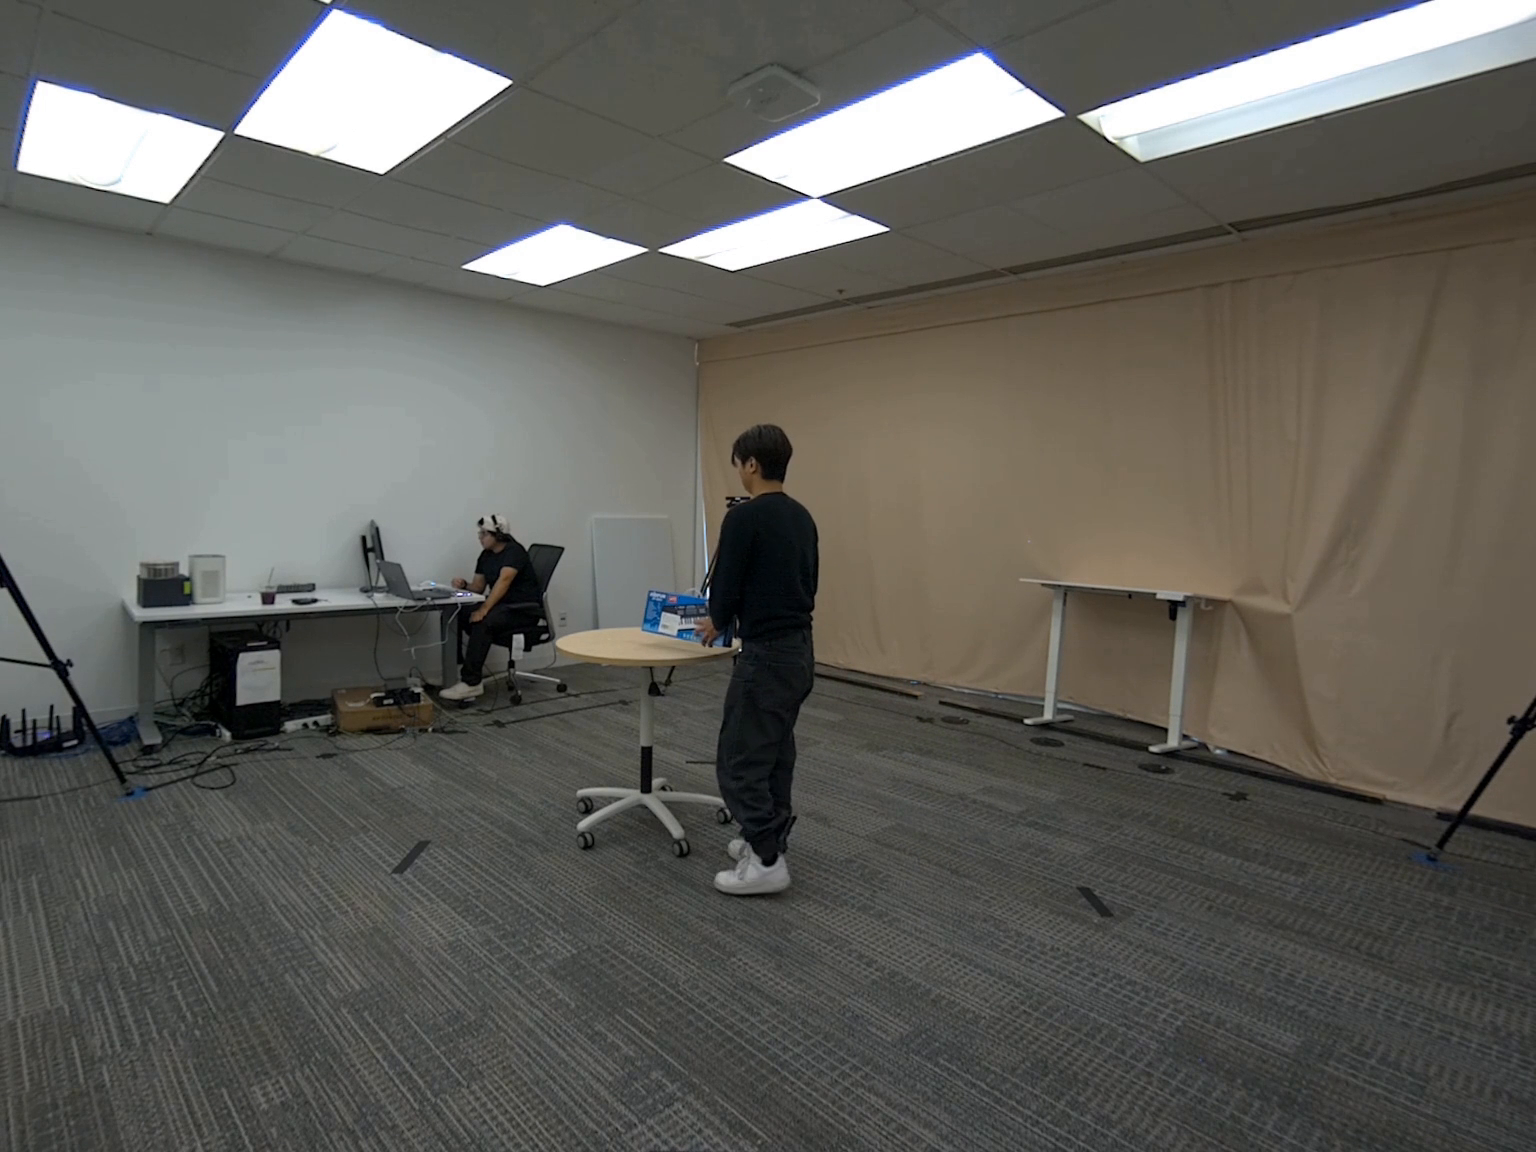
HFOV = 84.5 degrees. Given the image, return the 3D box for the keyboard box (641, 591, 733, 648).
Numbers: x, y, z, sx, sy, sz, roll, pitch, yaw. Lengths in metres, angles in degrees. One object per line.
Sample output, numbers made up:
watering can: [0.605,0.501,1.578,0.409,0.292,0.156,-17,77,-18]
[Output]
keyboard box: [-0.329,0.170,3.355,0.448,0.176,0.057,8,-4,39]
